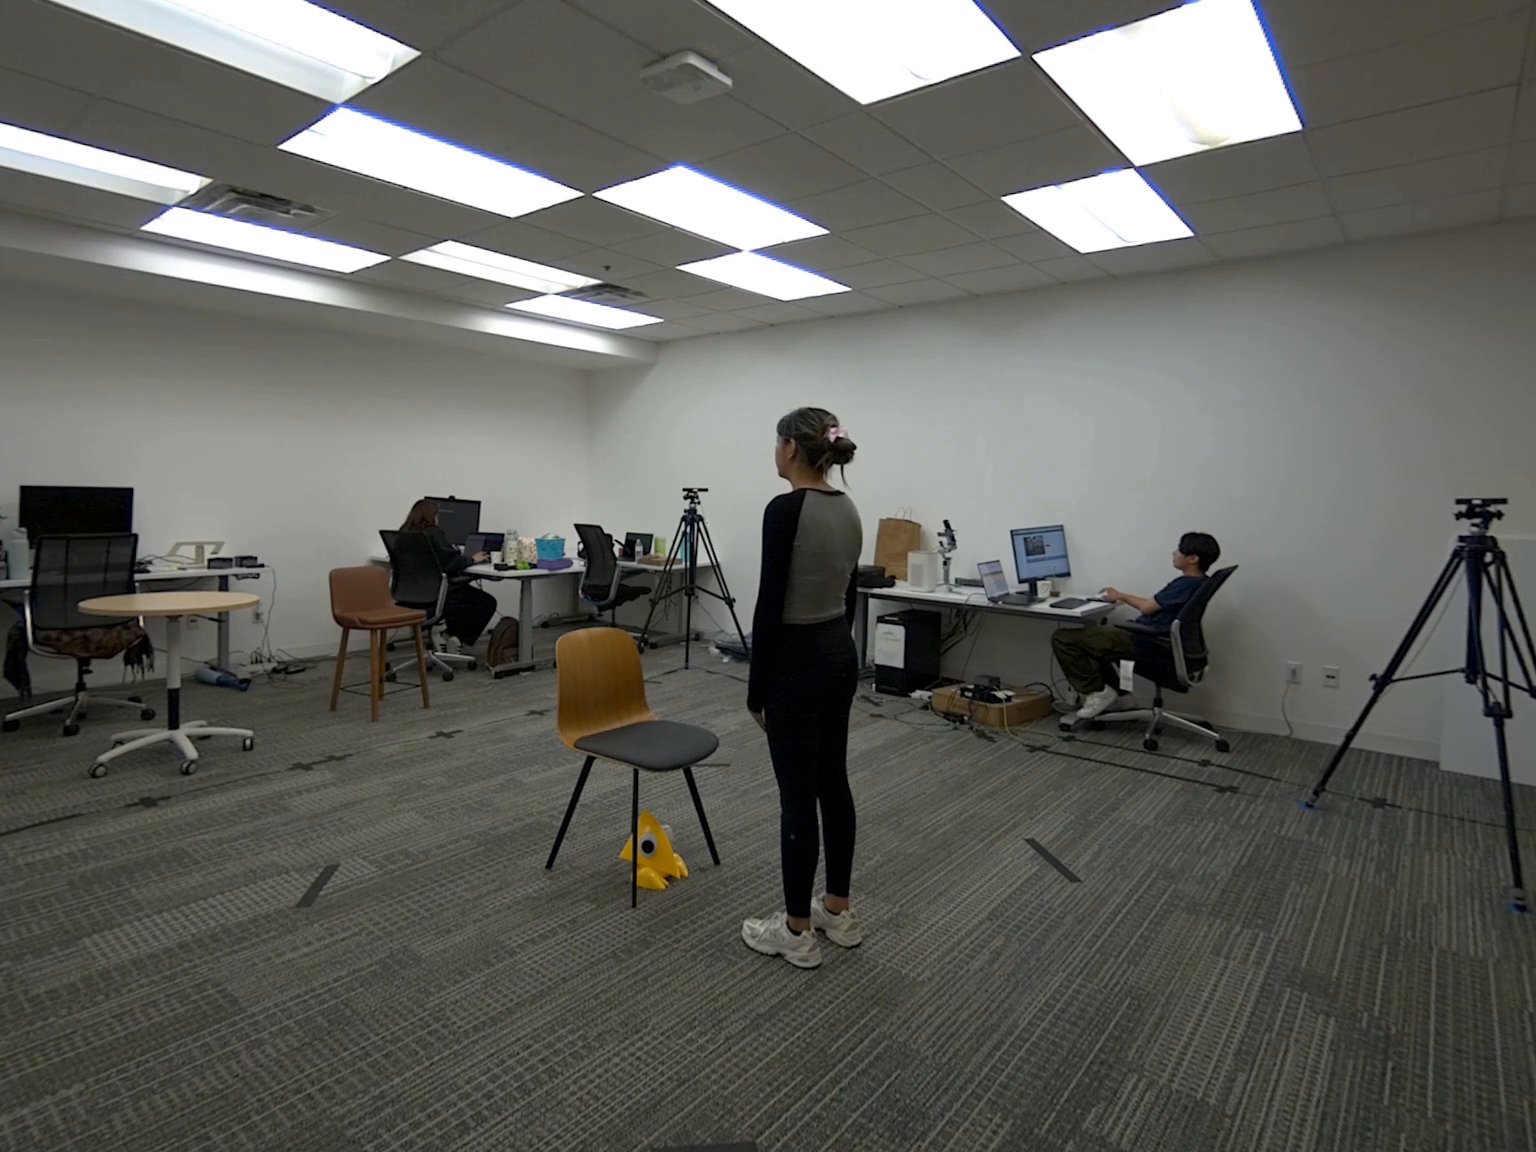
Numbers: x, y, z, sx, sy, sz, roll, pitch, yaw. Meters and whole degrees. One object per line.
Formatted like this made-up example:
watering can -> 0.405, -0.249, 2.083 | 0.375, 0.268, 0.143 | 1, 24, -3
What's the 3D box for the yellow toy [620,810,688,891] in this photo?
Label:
yellow toy -> -0.404, 0.962, 3.046 | 0.199, 0.230, 0.199 | 3, 3, 36
